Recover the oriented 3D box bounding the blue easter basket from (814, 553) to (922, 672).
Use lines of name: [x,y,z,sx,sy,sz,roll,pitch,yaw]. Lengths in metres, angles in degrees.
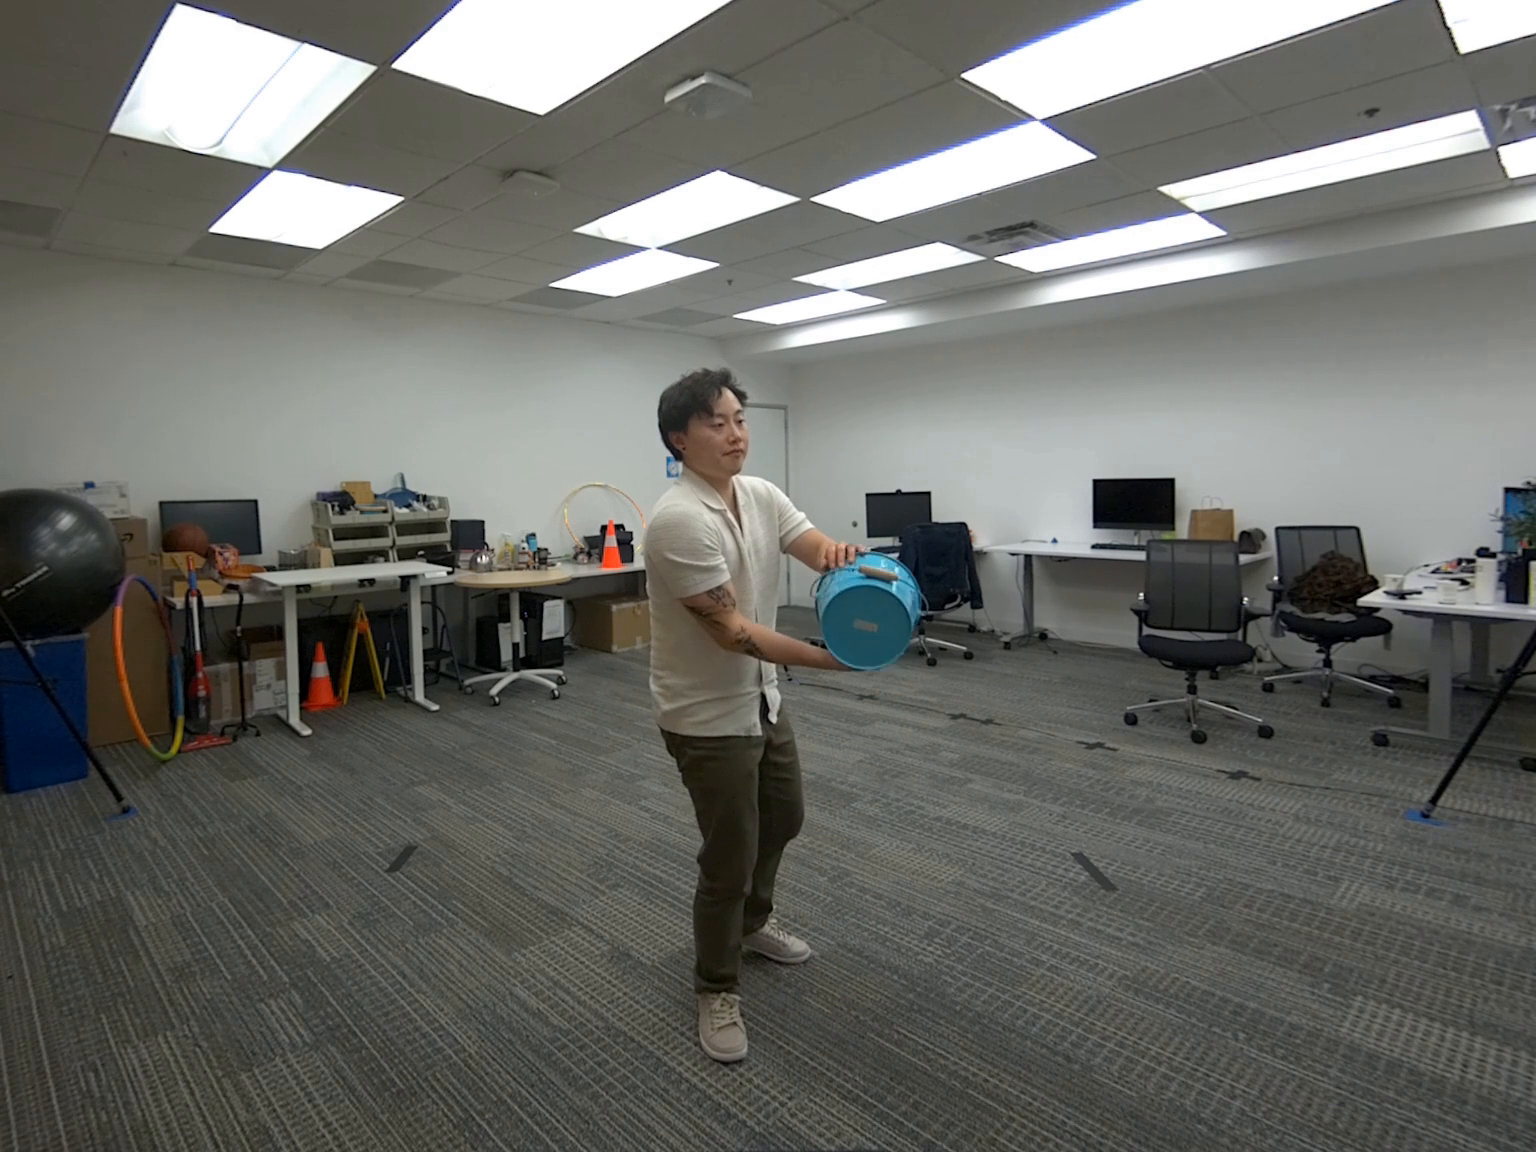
blue easter basket: [0.205,0.076,1.803,0.245,0.240,0.157,0,14,5]
